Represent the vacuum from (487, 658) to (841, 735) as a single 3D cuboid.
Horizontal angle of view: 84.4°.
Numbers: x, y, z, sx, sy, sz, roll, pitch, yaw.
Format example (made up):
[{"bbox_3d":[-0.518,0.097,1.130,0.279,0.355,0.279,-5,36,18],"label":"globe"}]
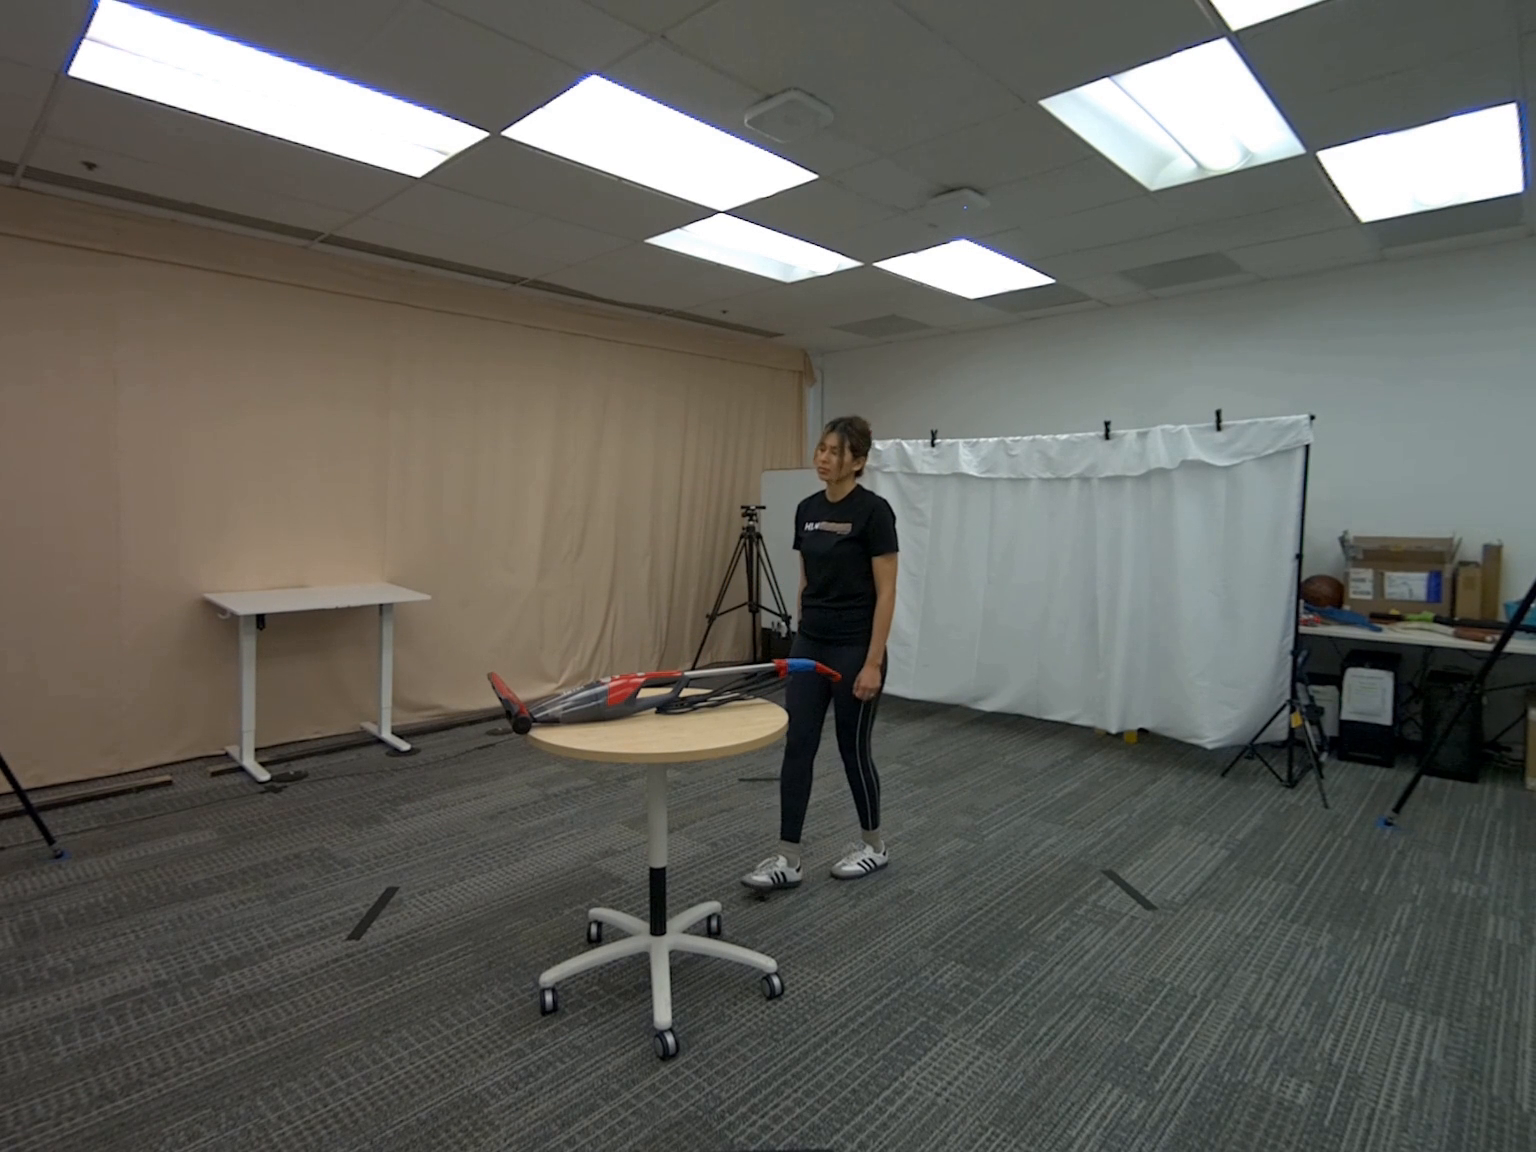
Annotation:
[{"bbox_3d":[-0.252,0.351,2.487,1.026,0.143,0.259,-2,9,-23],"label":"vacuum"}]
